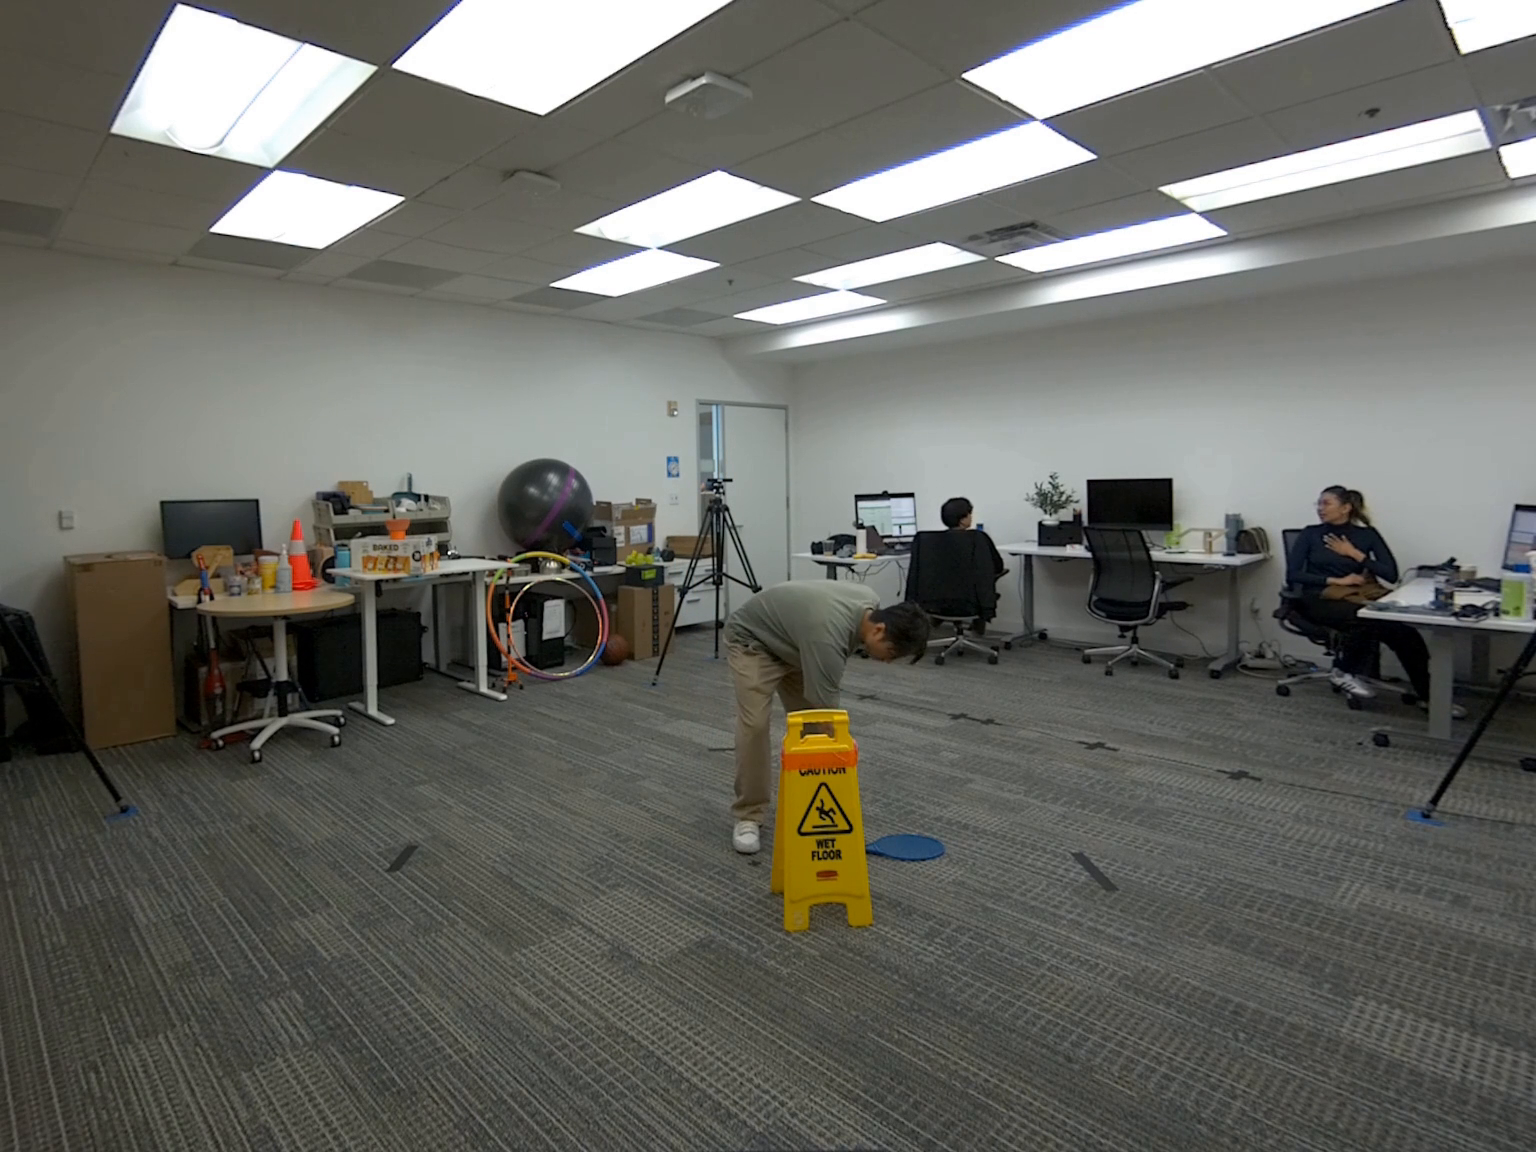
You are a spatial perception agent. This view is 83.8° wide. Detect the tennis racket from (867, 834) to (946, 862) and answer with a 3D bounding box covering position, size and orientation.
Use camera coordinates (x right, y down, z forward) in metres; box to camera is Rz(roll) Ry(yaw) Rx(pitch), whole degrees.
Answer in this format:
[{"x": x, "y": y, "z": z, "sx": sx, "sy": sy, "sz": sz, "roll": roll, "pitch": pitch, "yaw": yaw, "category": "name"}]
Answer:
[{"x": 0.435, "y": 1.006, "z": 3.189, "sx": 0.429, "sy": 0.031, "sz": 0.216, "roll": 0, "pitch": 6, "yaw": -8, "category": "tennis racket"}]
